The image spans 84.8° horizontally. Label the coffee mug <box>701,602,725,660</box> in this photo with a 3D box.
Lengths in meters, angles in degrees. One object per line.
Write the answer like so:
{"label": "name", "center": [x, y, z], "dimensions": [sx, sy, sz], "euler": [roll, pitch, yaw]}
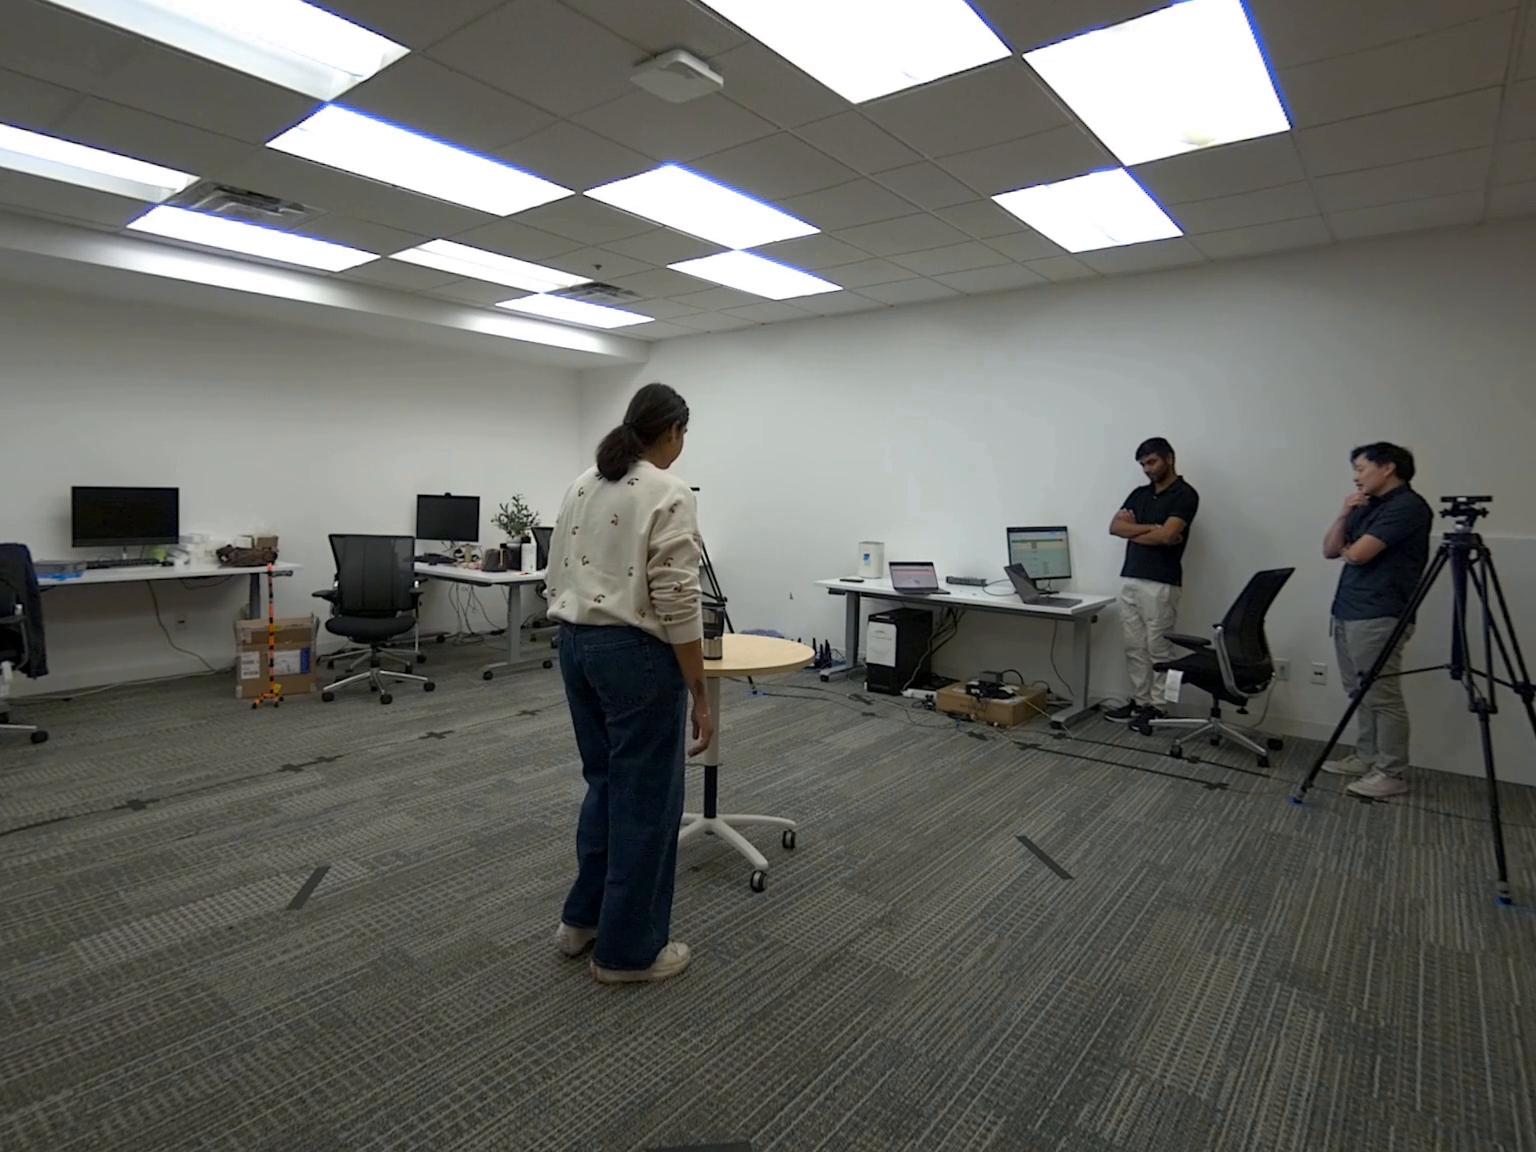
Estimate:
{"label": "coffee mug", "center": [-0.213, 0.194, 2.997], "dimensions": [0.089, 0.203, 0.120], "euler": [4, 2, 15]}
